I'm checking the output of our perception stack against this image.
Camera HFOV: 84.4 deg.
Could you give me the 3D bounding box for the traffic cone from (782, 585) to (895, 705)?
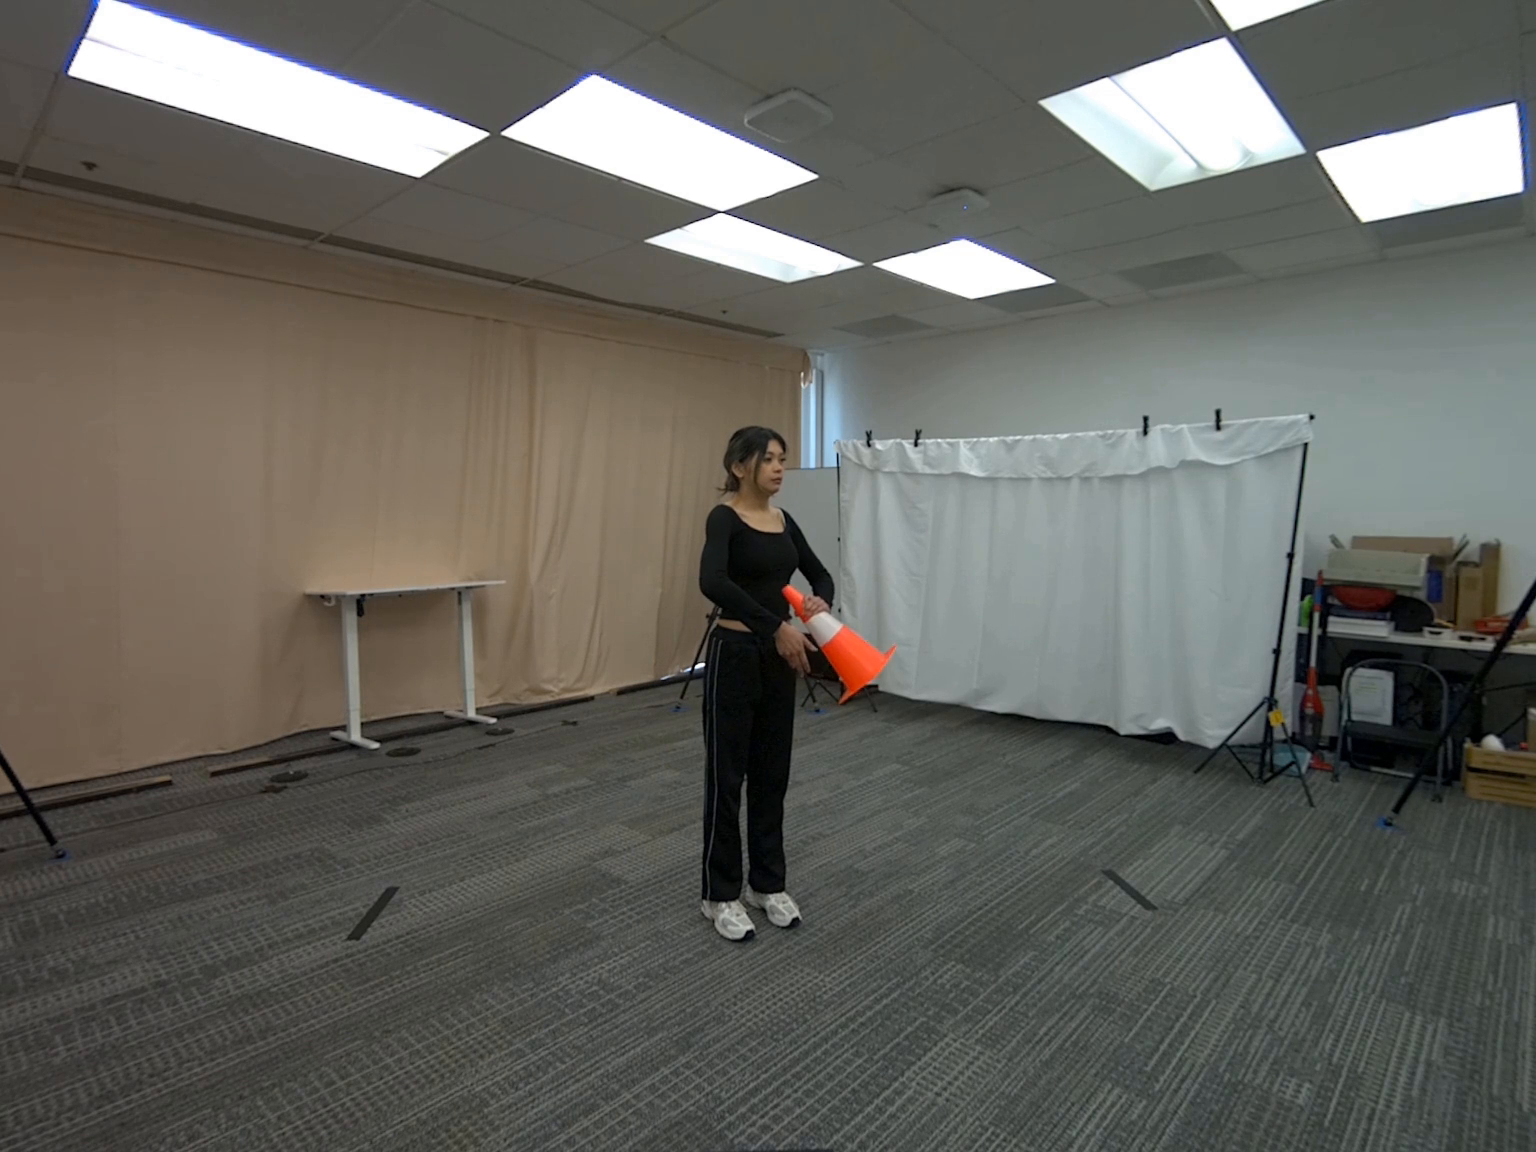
[{"bbox_3d":[0.188,0.183,2.672,0.205,0.384,0.203,-45,0,38],"label":"traffic cone"}]
